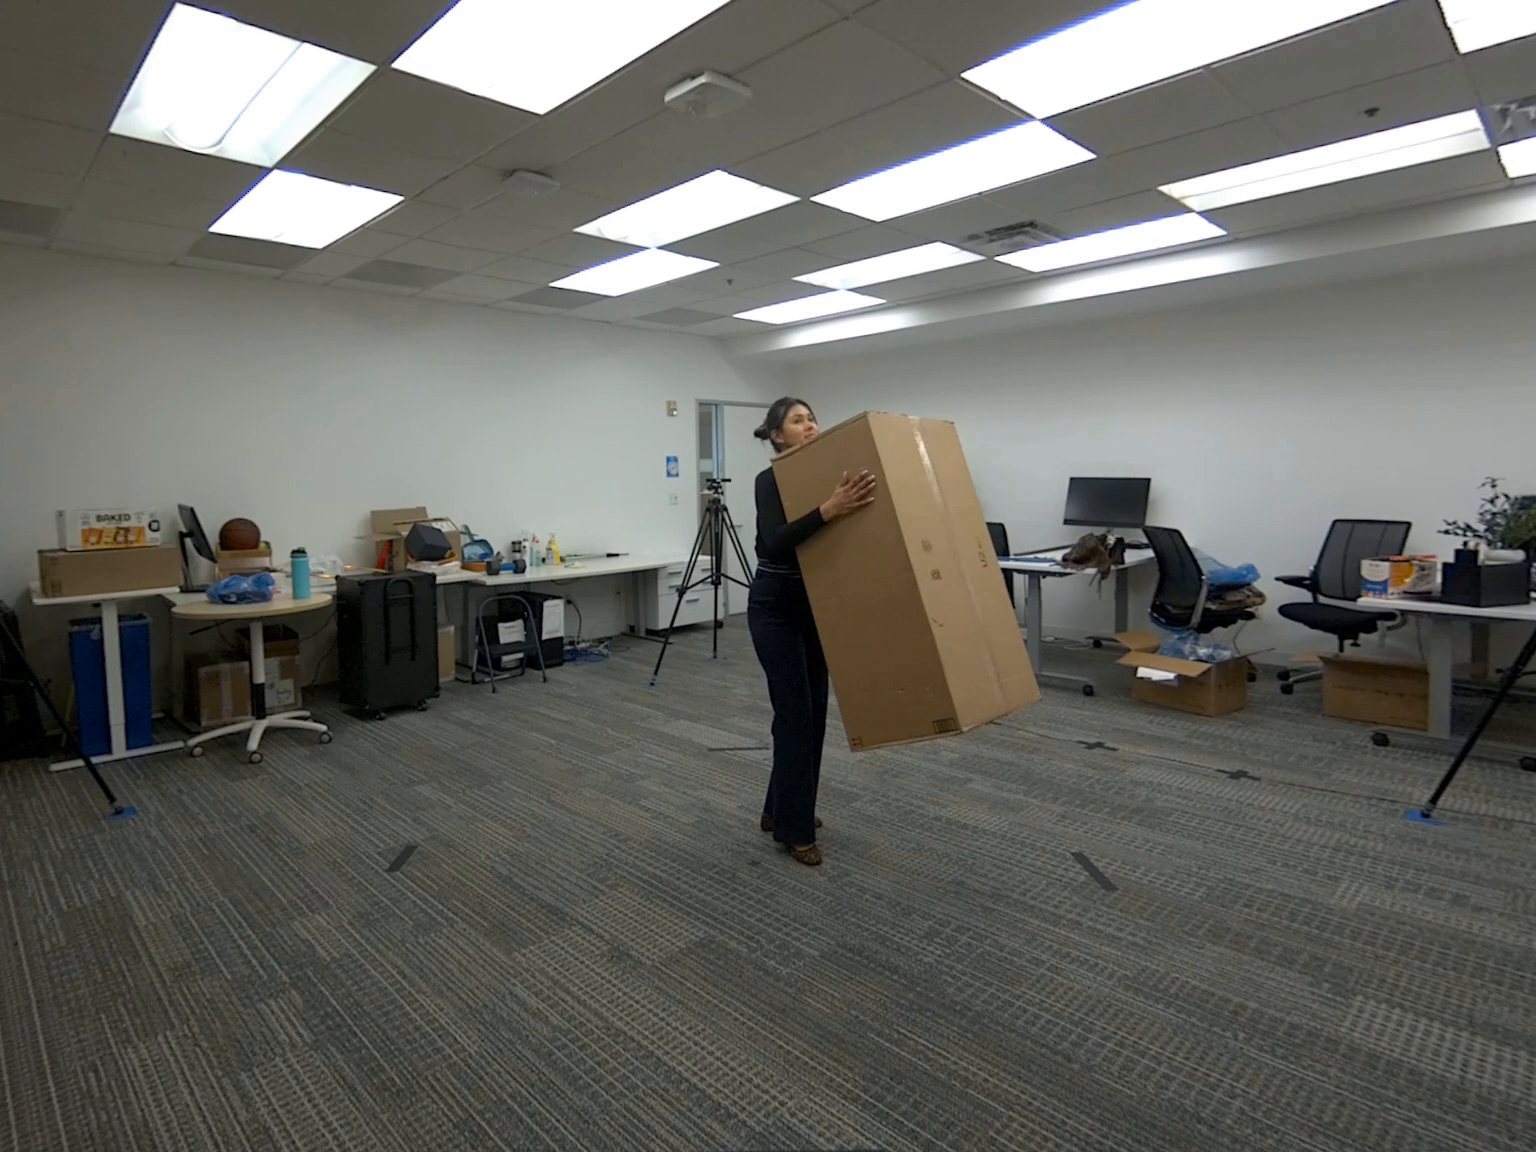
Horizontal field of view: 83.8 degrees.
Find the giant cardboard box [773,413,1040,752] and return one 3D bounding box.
[{"bbox_3d":[0.471,0.012,2.933,0.433,1.038,0.562,-23,-13,41],"label":"giant cardboard box"}]
